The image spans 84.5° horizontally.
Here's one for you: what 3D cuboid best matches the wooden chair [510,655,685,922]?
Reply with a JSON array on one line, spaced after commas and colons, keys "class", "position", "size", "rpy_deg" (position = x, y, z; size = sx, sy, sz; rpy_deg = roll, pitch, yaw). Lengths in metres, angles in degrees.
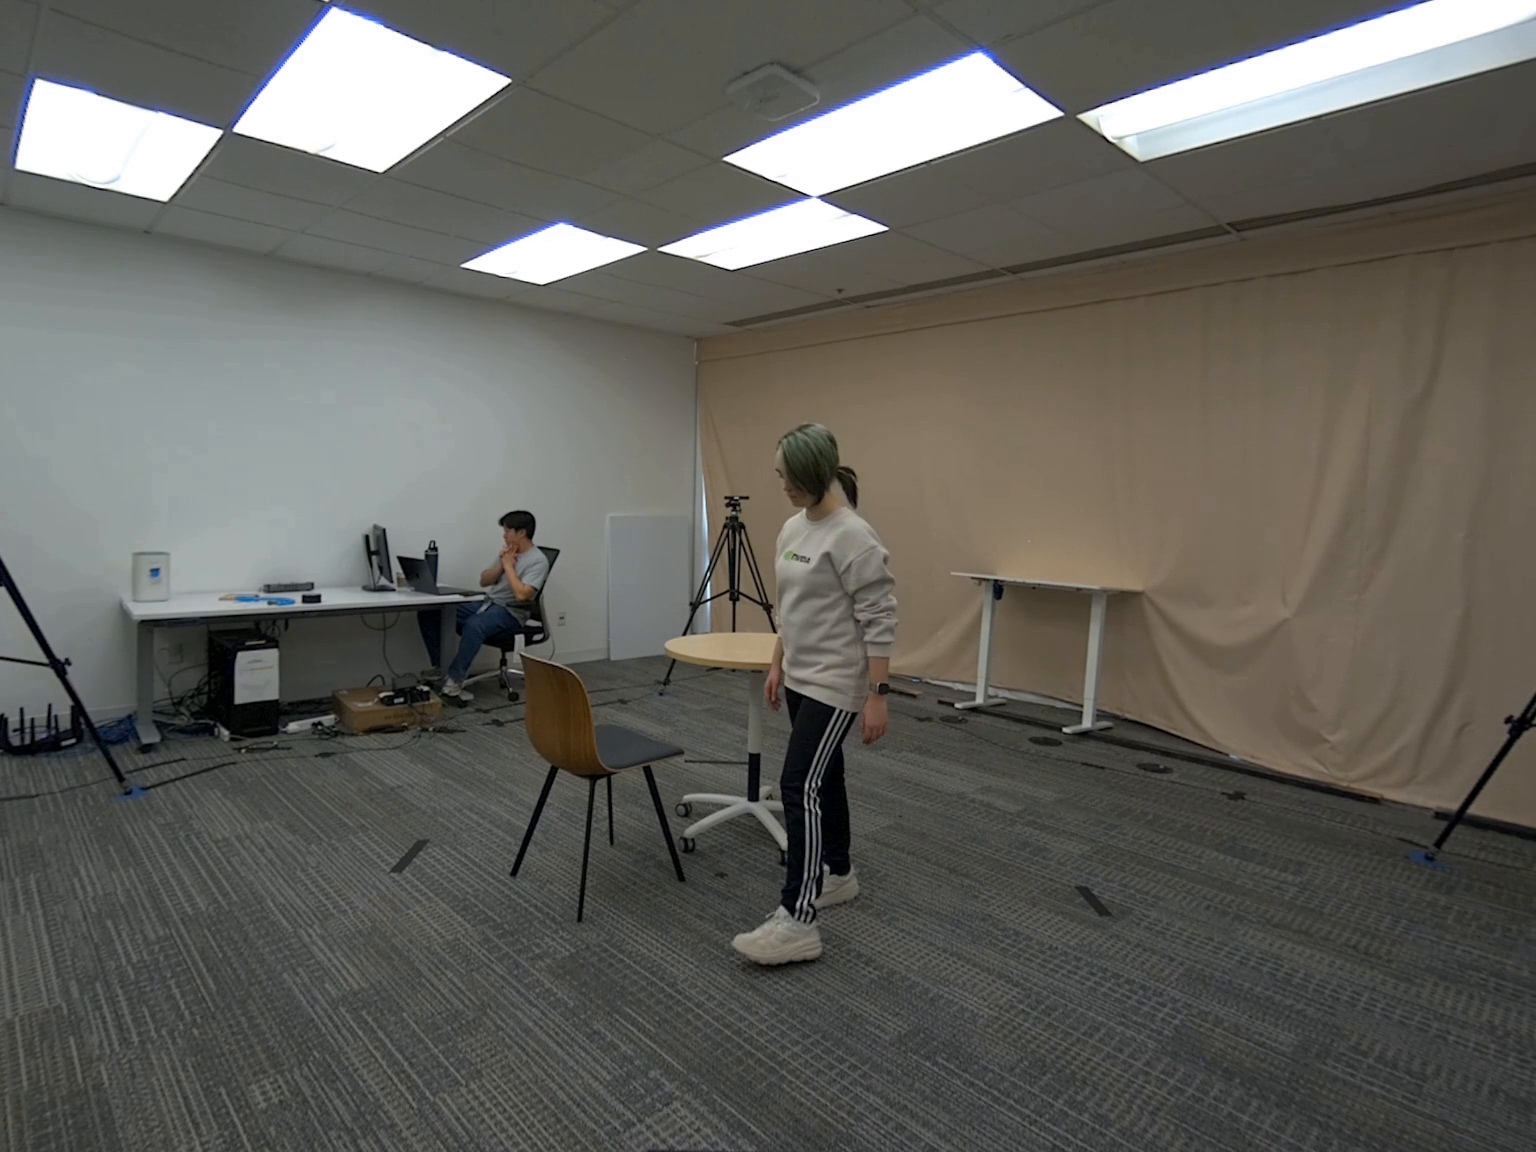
[{"class": "wooden chair", "position": [-0.605, 0.670, 3.026], "size": [0.512, 0.873, 0.490], "rpy_deg": [-8, 9, -44]}]
